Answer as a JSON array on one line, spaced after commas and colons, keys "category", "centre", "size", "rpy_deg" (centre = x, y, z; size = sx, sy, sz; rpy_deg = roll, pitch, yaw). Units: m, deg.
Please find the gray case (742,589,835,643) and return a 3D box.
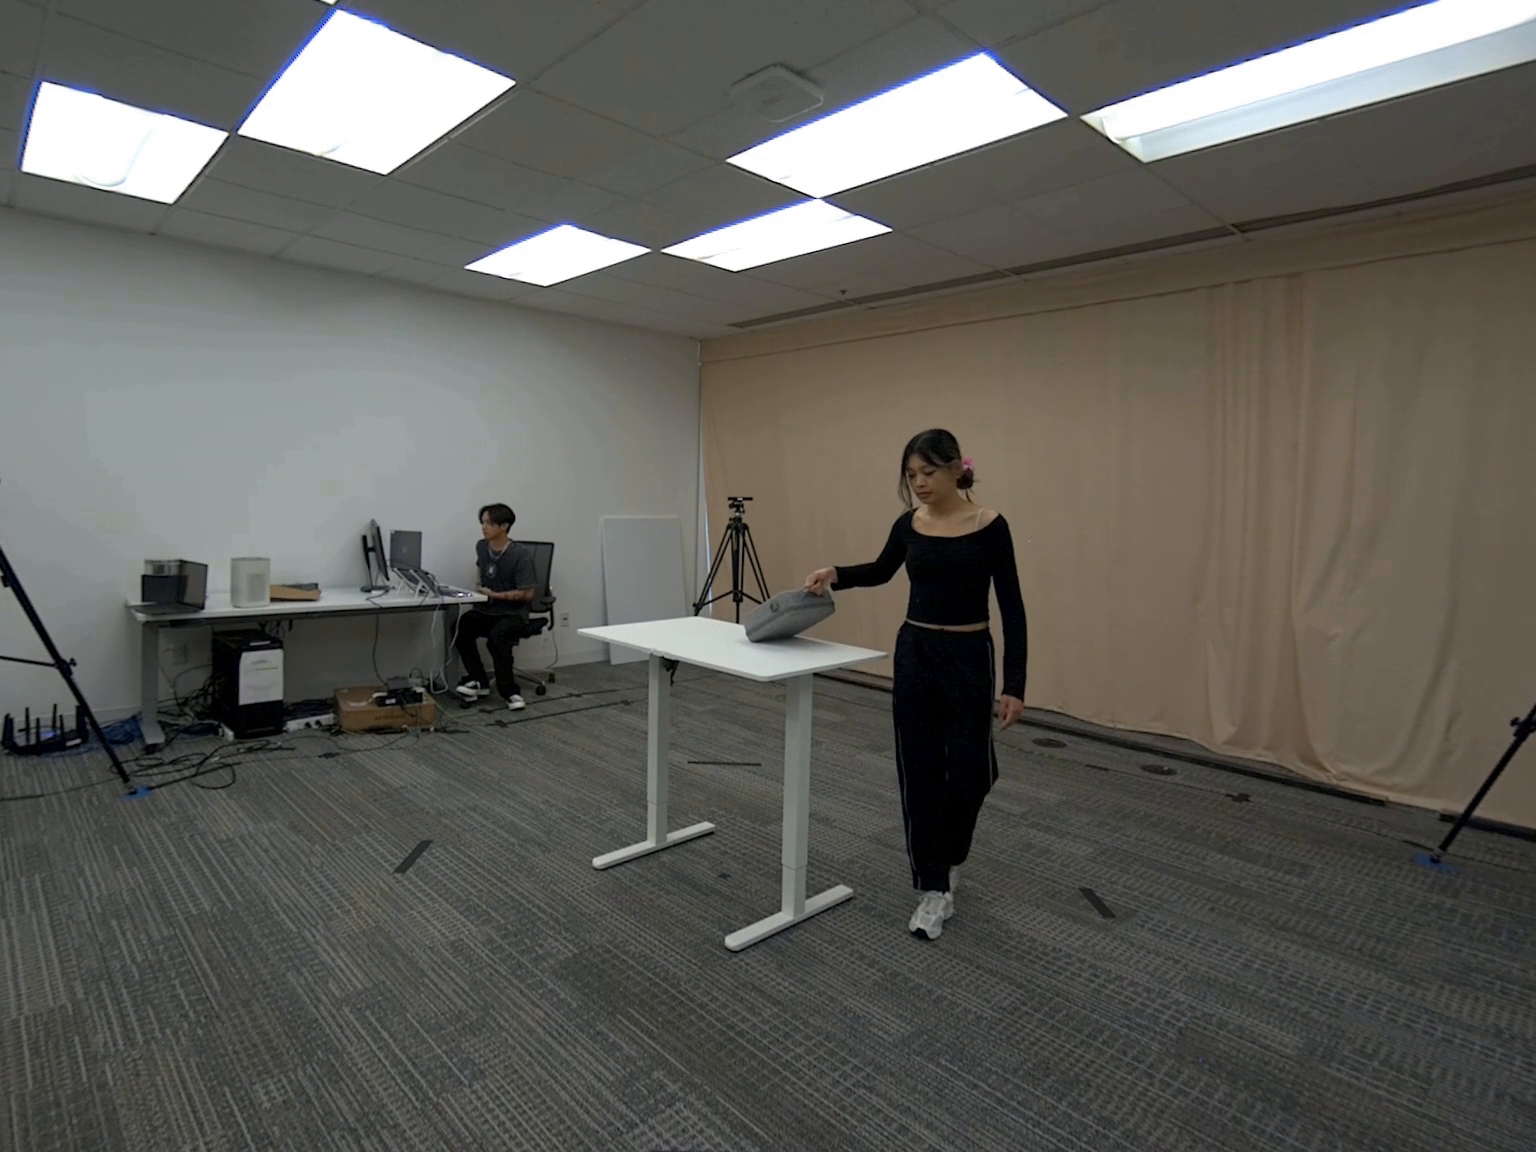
[{"category": "gray case", "centre": [0.063, 0.138, 3.000], "size": [0.251, 0.106, 0.262], "rpy_deg": [-2, -23, -43]}]
